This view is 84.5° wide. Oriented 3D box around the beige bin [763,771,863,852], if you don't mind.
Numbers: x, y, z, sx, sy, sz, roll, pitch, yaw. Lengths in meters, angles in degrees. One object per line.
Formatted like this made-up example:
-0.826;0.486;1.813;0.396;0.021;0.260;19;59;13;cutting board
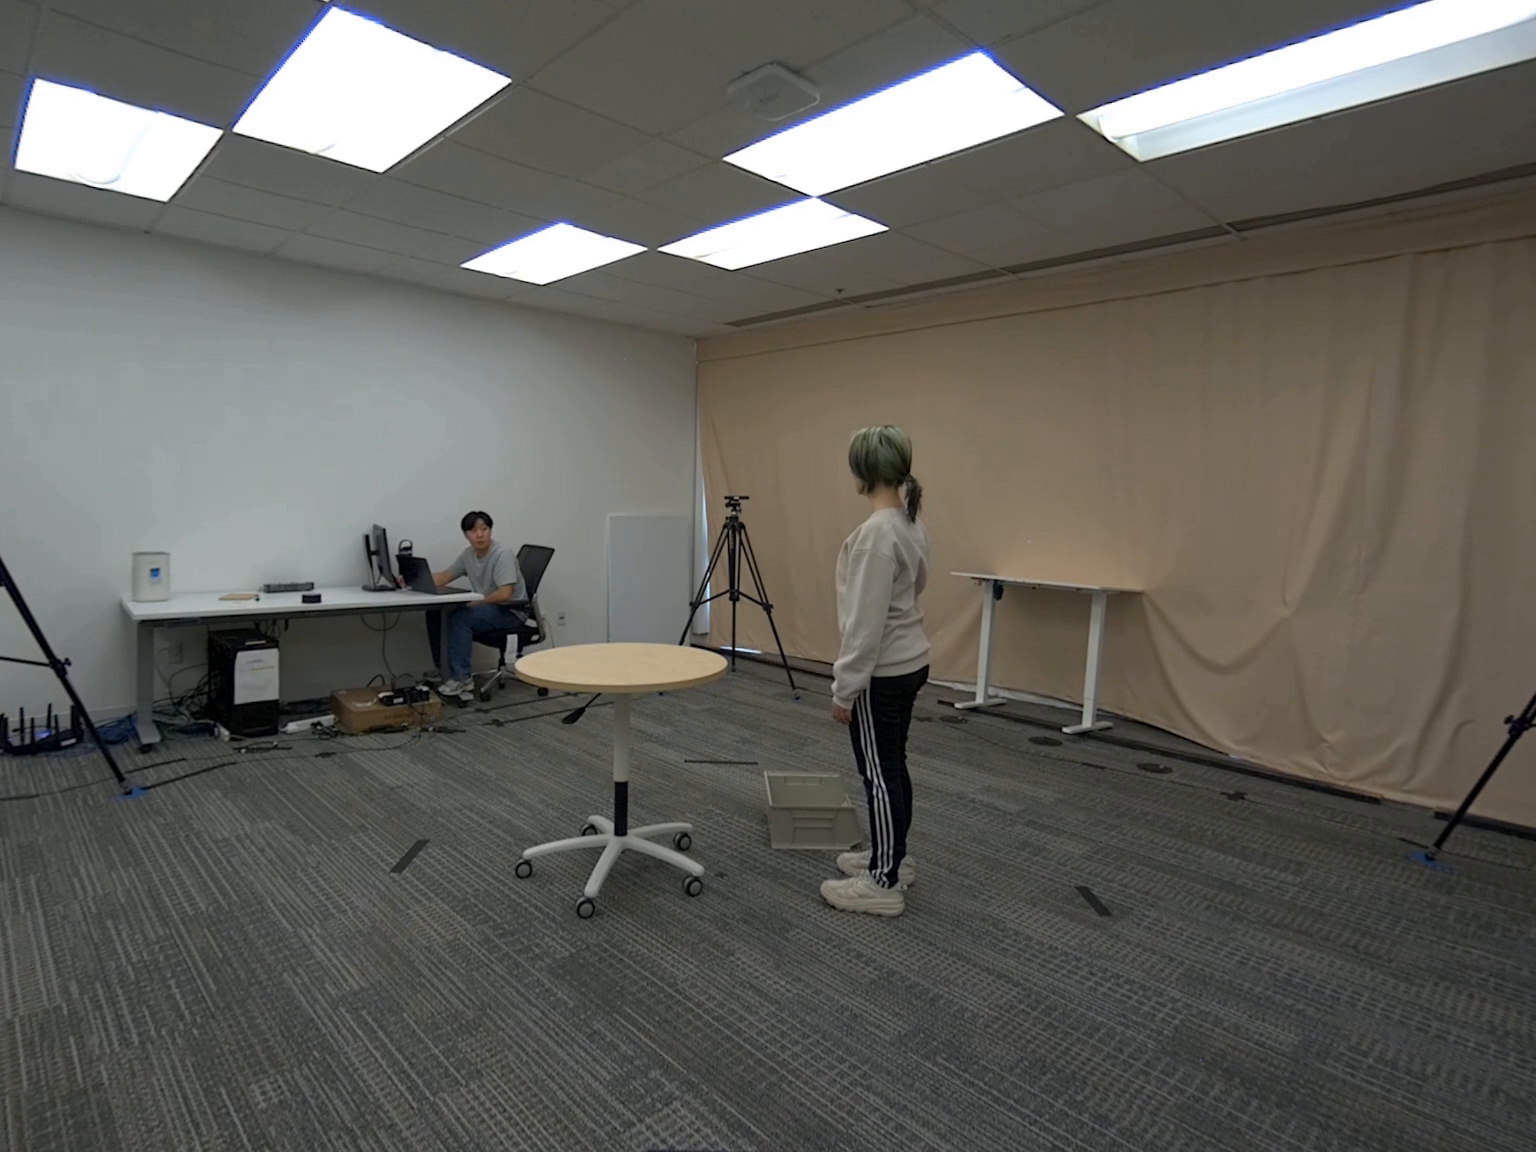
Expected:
0.172;0.986;3.556;0.376;0.188;0.424;0;5;-3;beige bin
